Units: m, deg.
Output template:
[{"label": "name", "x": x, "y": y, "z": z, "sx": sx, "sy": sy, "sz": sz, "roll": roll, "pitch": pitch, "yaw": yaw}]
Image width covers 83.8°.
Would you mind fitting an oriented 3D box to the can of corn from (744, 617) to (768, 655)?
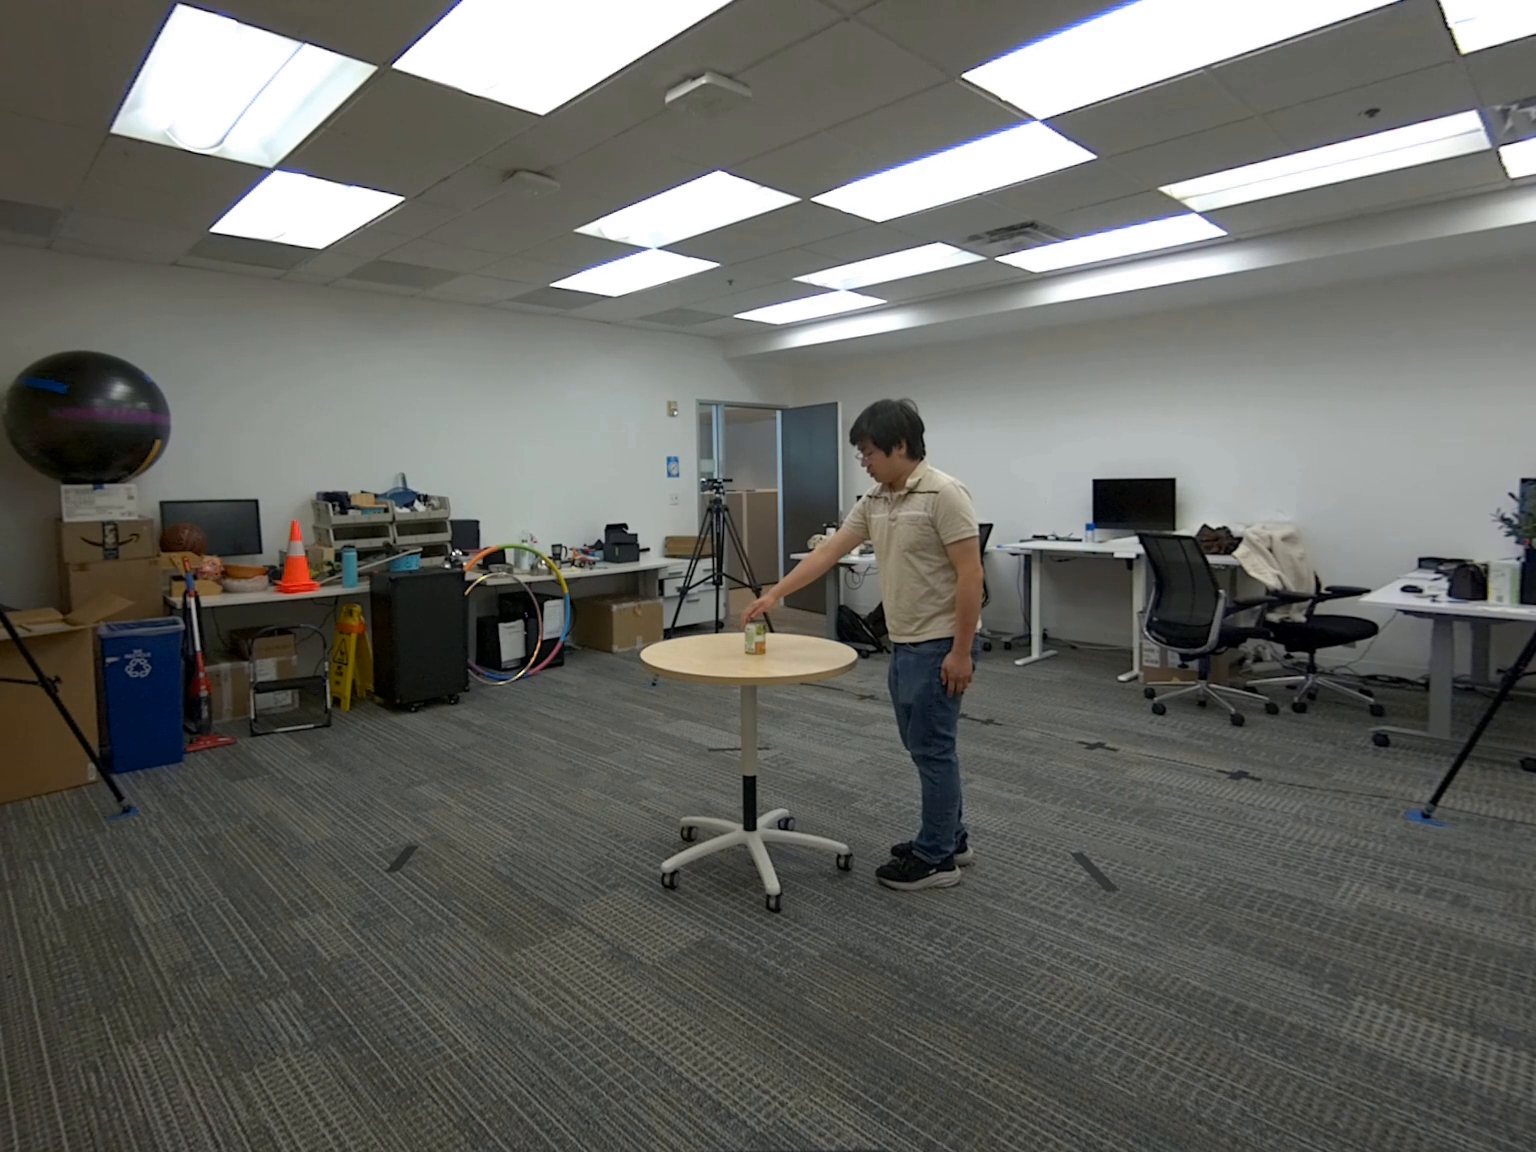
[{"label": "can of corn", "x": -0.046, "y": 0.217, "z": 3.012, "sx": 0.074, "sy": 0.111, "sz": 0.074, "roll": 3, "pitch": 4, "yaw": -2}]
